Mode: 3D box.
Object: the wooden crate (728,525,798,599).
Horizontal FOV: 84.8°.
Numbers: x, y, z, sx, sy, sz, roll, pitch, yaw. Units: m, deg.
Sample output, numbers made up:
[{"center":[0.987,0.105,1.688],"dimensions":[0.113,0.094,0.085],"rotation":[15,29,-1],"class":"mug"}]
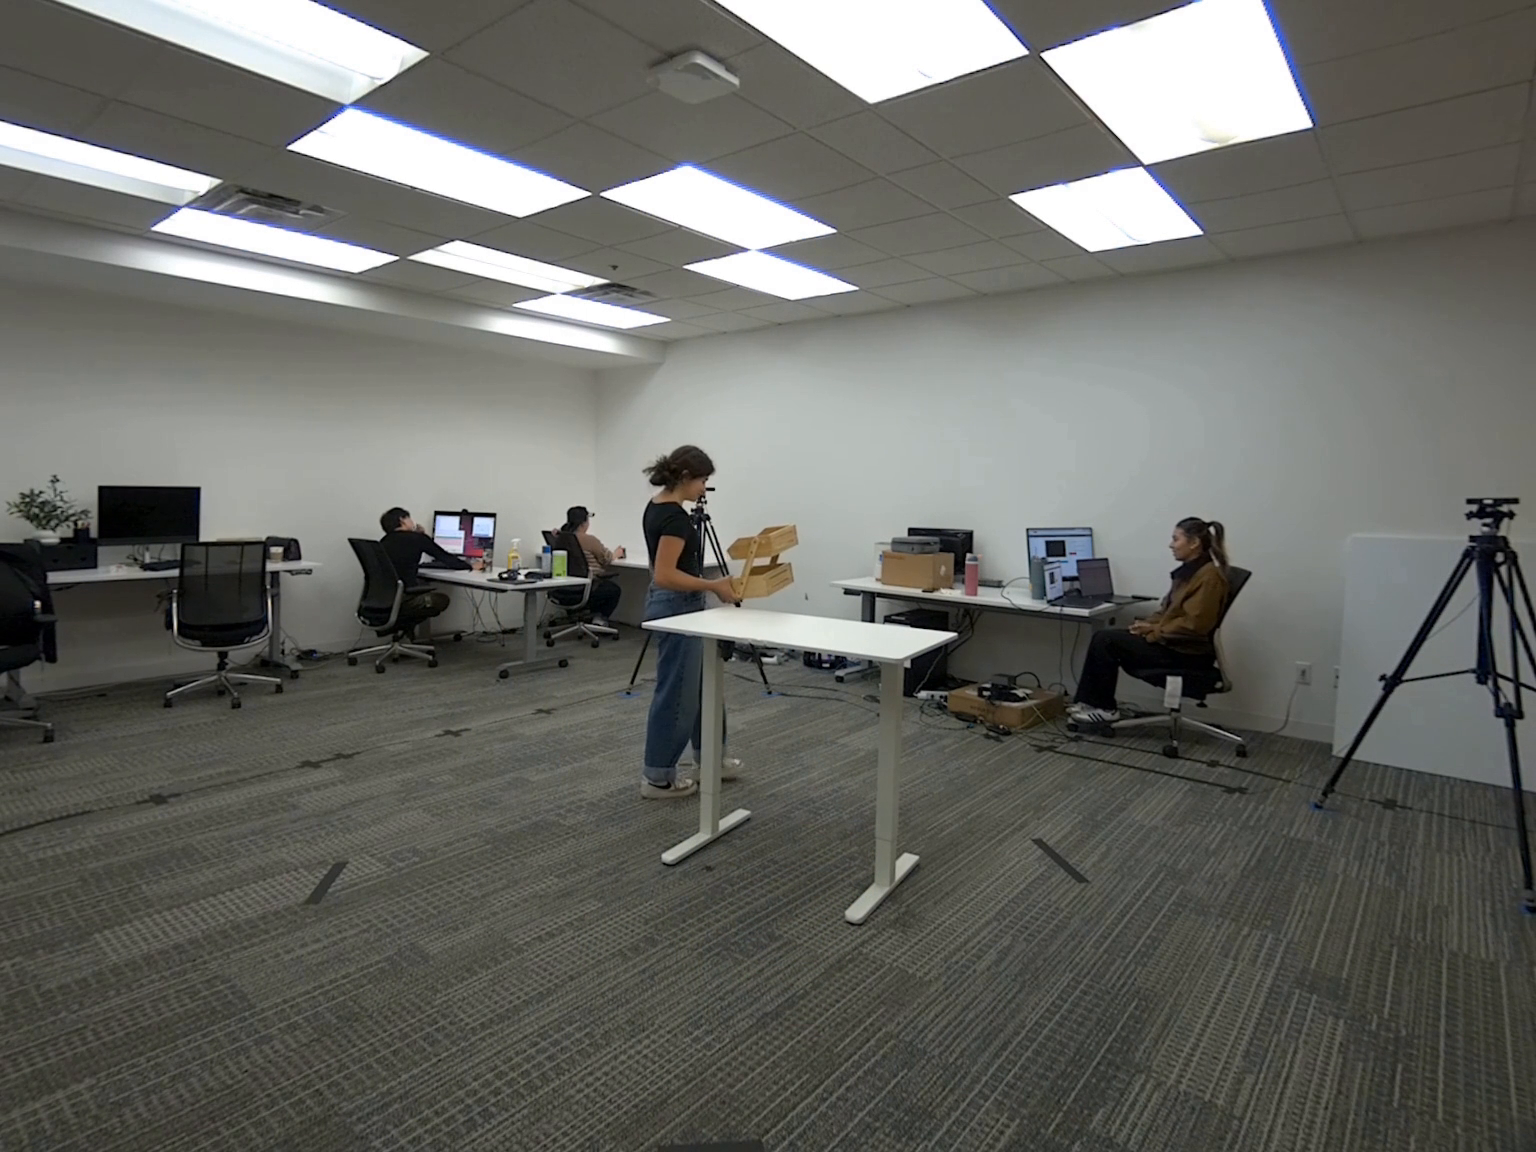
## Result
[{"center":[-0.068,-0.069,3.762],"dimensions":[0.309,0.271,0.319],"rotation":[-5,9,27],"class":"wooden crate"}]
